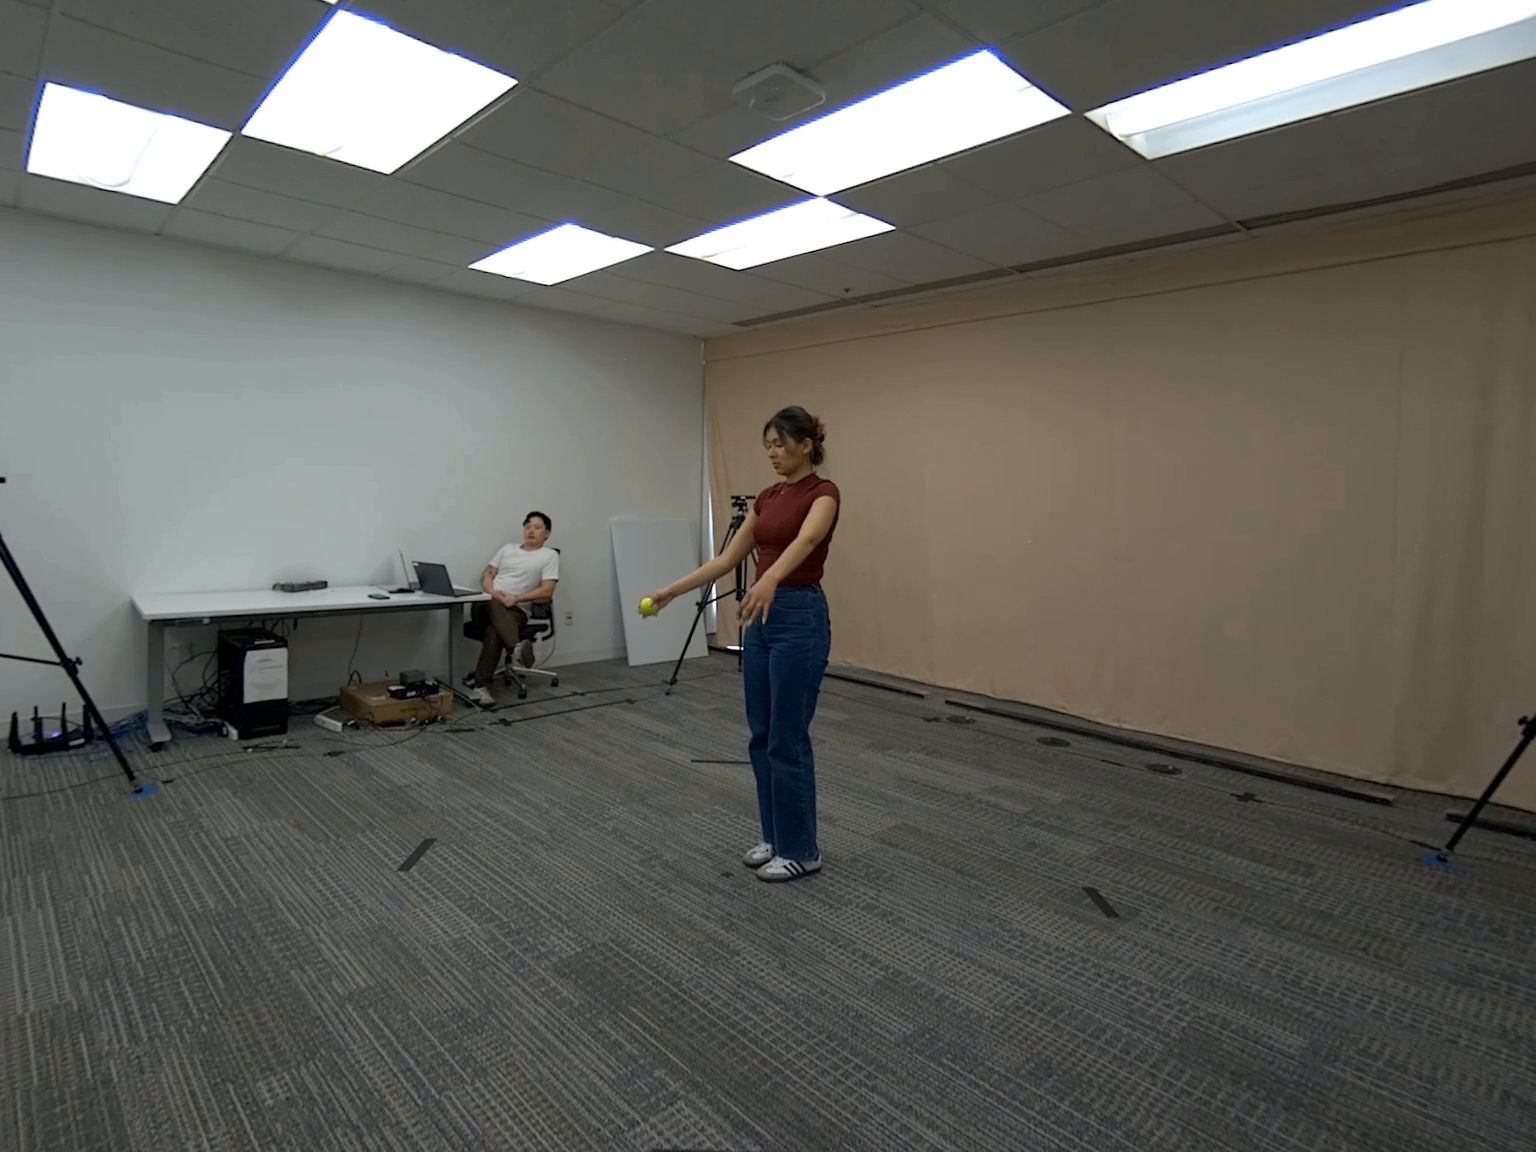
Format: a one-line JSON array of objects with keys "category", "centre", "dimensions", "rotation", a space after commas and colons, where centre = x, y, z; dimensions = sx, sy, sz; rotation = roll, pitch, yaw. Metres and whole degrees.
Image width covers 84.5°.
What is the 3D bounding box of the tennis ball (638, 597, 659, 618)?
[{"category": "tennis ball", "centre": [-0.470, 0.099, 3.122], "dimensions": [0.066, 0.066, 0.067], "rotation": [1, 4, -1]}]
